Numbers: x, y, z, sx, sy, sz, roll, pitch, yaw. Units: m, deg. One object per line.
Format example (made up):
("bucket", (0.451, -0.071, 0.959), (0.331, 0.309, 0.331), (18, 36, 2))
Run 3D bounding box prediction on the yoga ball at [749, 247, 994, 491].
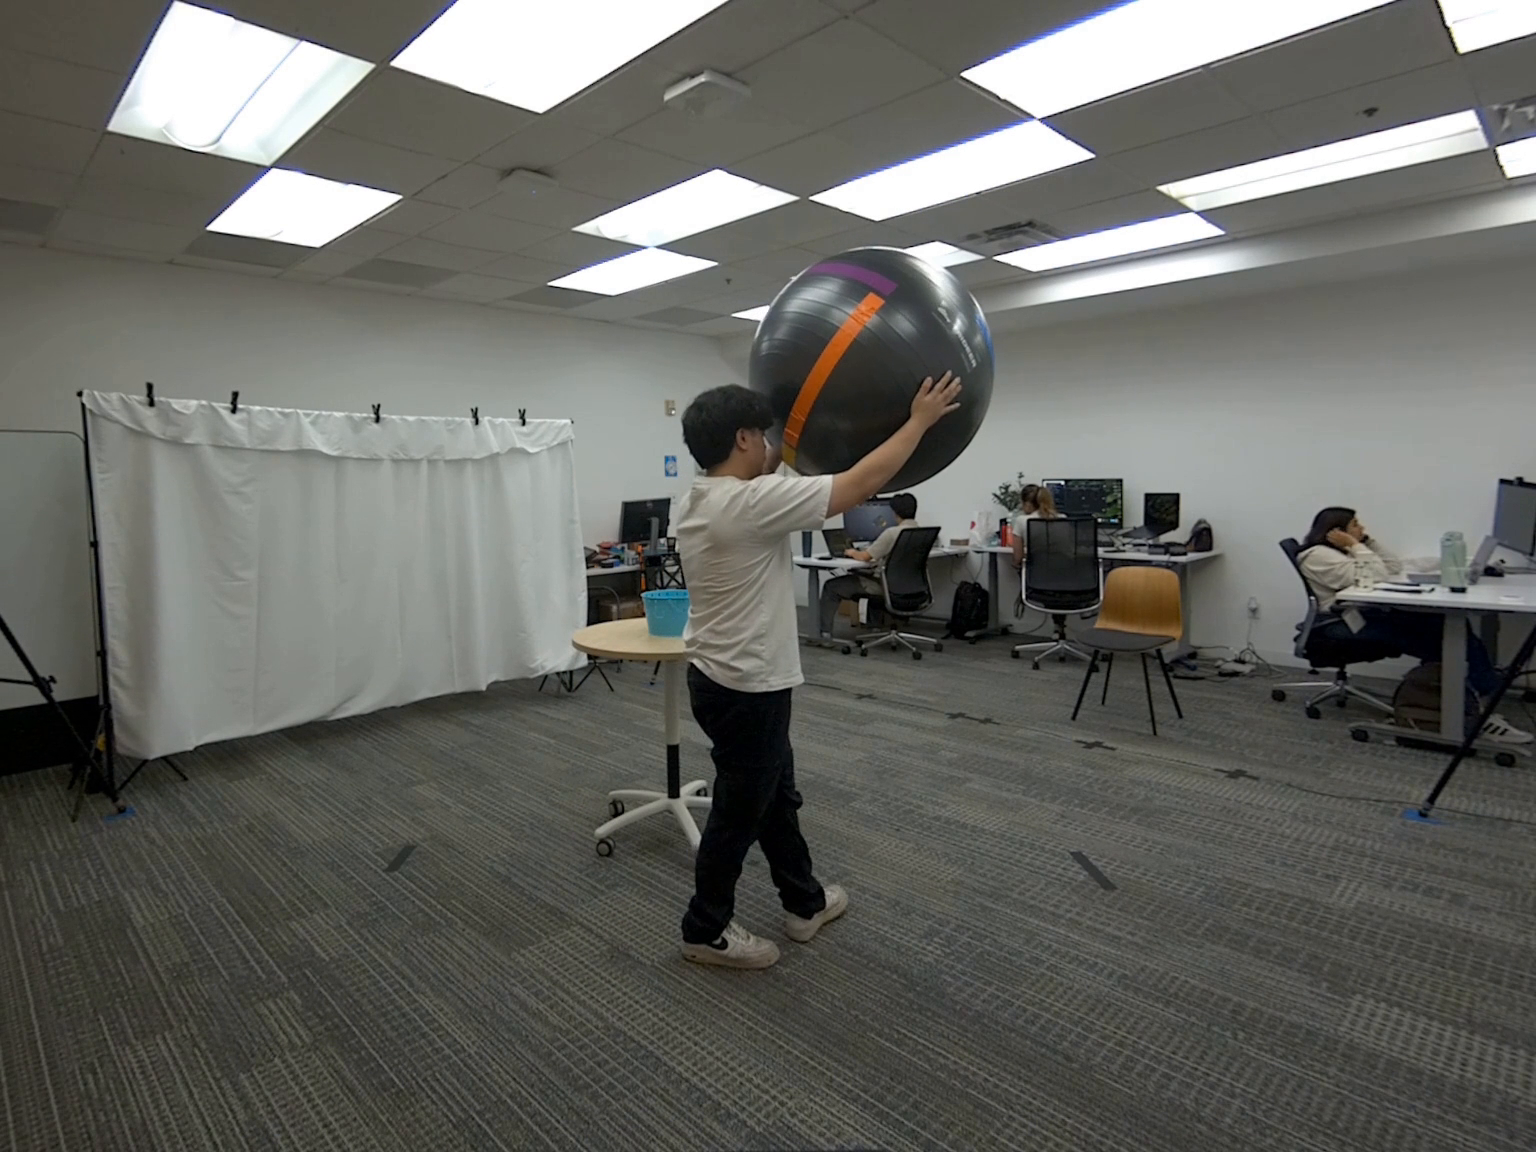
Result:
("yoga ball", (0.320, -0.633, 2.687), (0.757, 0.755, 0.762), (-1, 5, -2))
